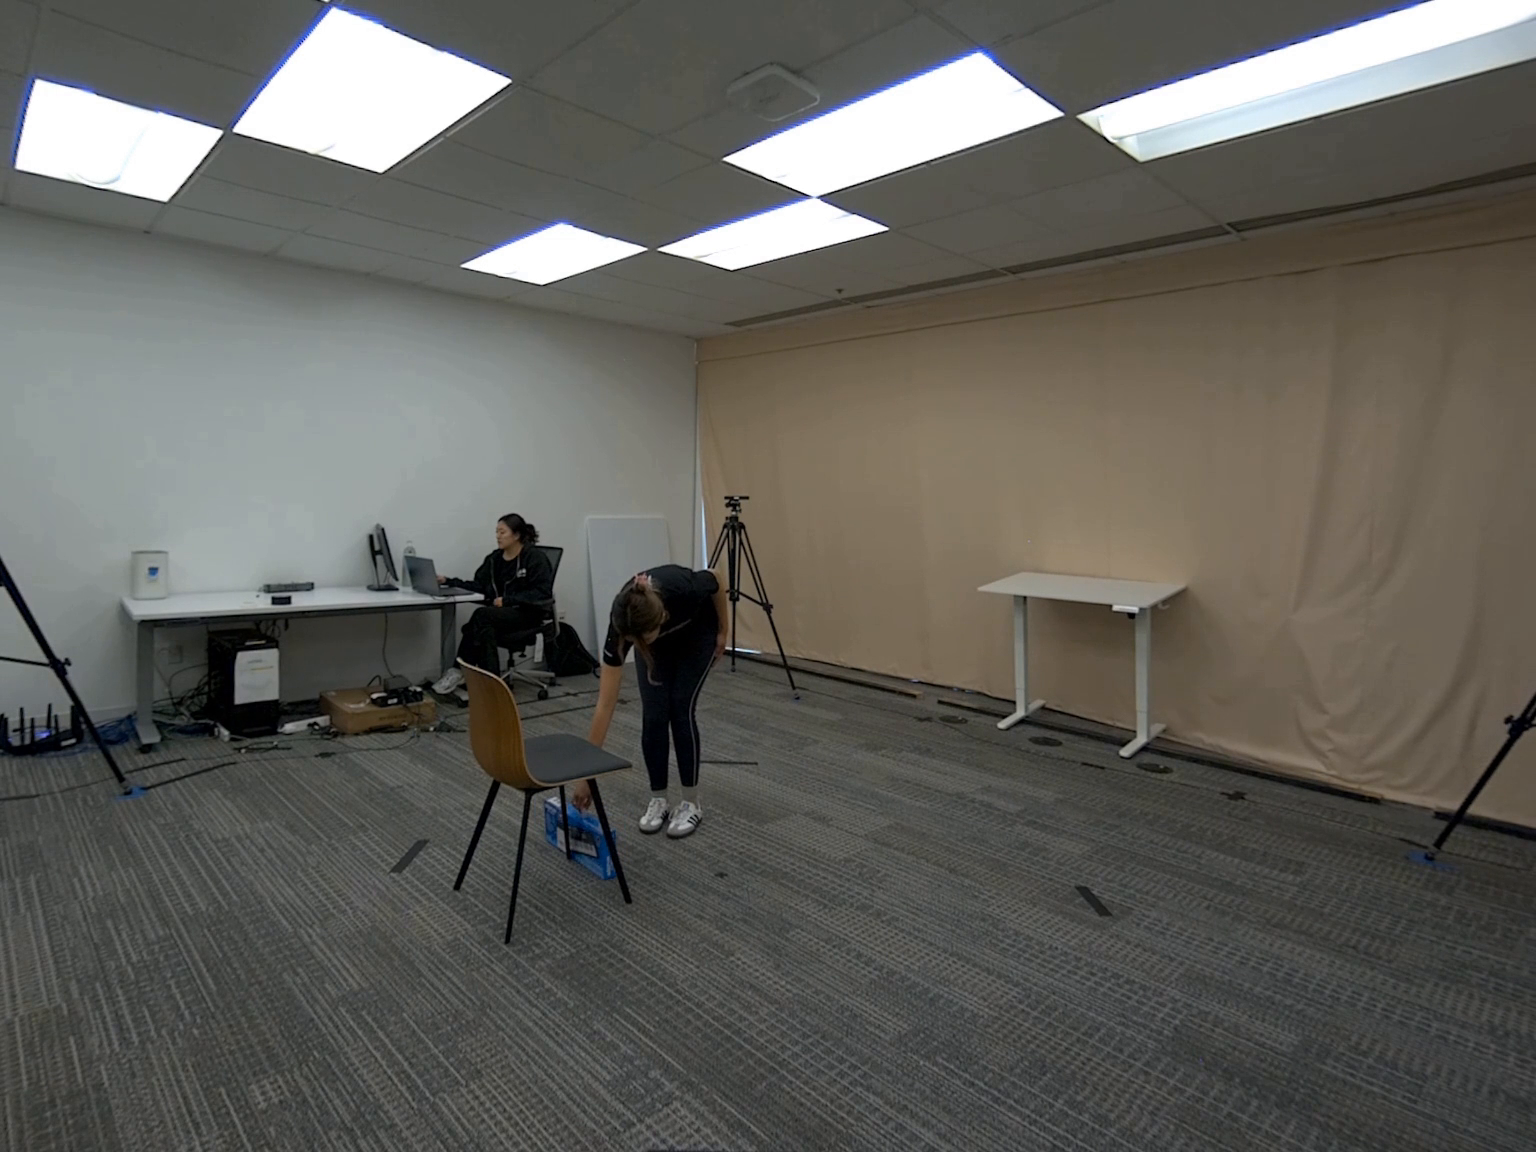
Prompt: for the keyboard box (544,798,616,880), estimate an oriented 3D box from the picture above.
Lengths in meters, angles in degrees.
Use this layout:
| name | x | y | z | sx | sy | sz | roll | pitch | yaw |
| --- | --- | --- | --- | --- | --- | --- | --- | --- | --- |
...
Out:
| name | x | y | z | sx | sy | sz | roll | pitch | yaw |
| --- | --- | --- | --- | --- | --- | --- | --- | --- | --- |
| keyboard box | -0.728 | 0.997 | 3.211 | 0.058 | 0.175 | 0.448 | -6 | 9 | -41 |
